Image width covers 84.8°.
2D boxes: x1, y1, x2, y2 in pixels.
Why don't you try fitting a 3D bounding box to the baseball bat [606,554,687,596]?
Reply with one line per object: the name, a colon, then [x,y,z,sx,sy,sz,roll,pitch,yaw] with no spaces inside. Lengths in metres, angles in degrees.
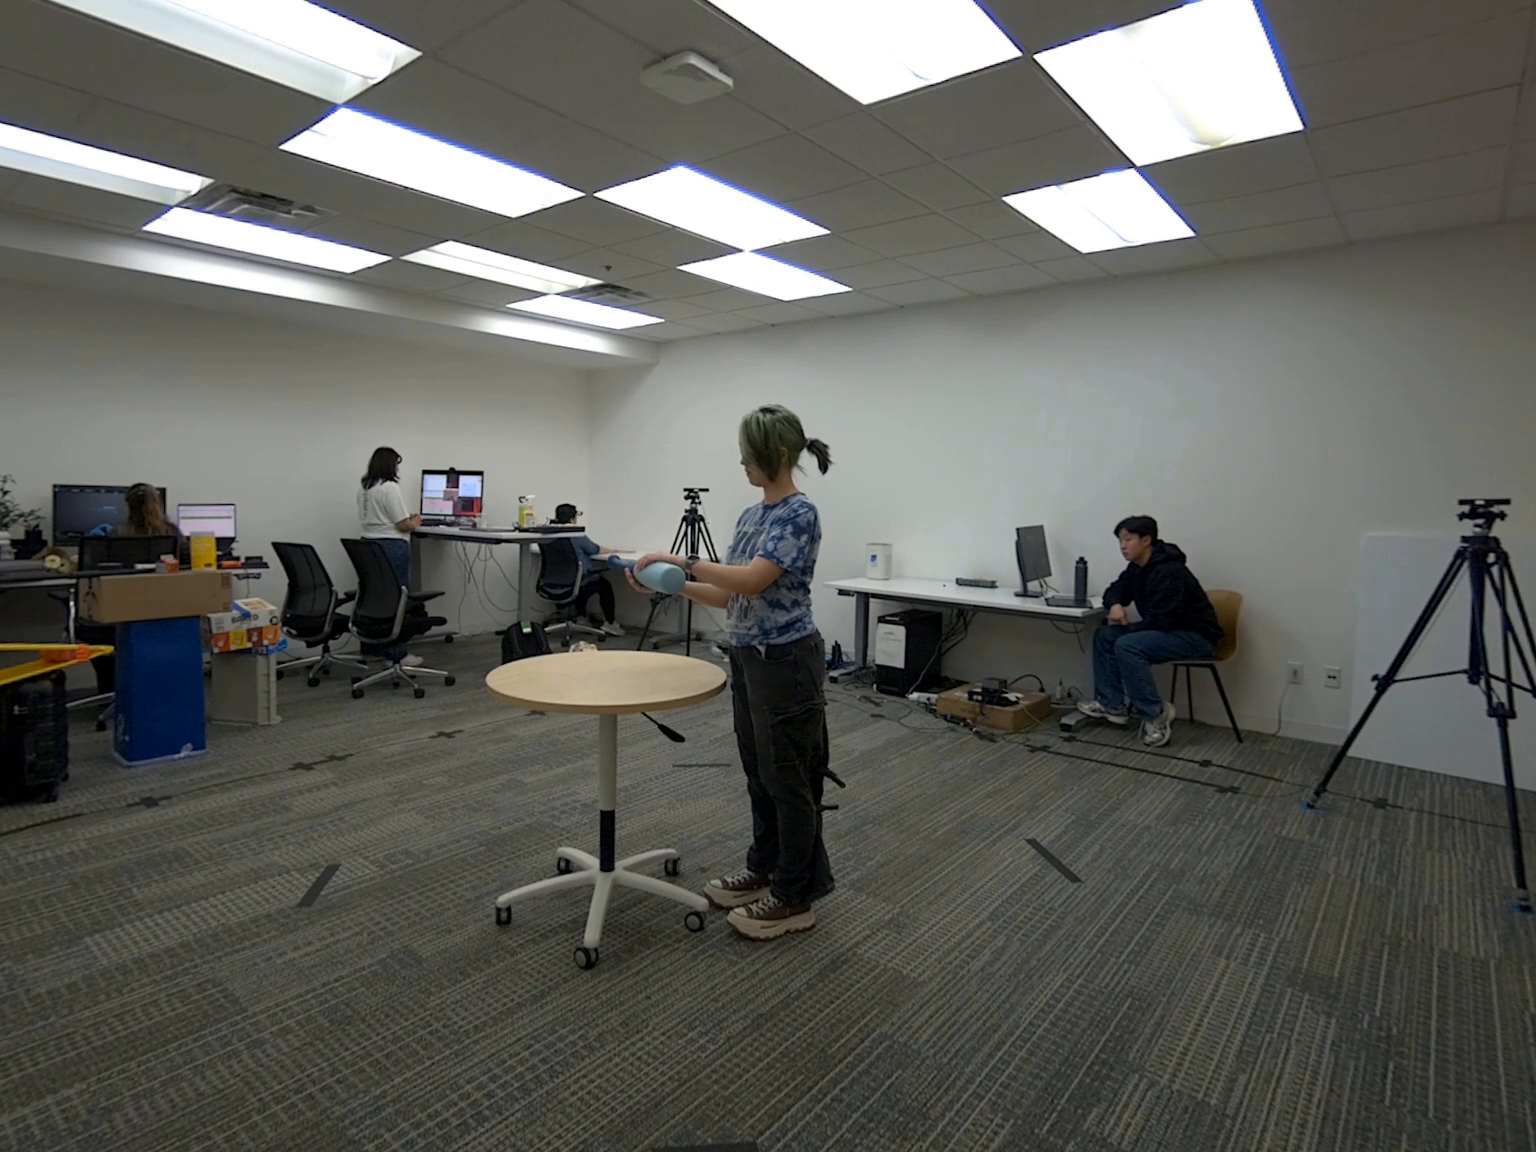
baseball bat: [-0.412,-0.013,2.730,0.087,0.089,0.558,-1,6,-27]
